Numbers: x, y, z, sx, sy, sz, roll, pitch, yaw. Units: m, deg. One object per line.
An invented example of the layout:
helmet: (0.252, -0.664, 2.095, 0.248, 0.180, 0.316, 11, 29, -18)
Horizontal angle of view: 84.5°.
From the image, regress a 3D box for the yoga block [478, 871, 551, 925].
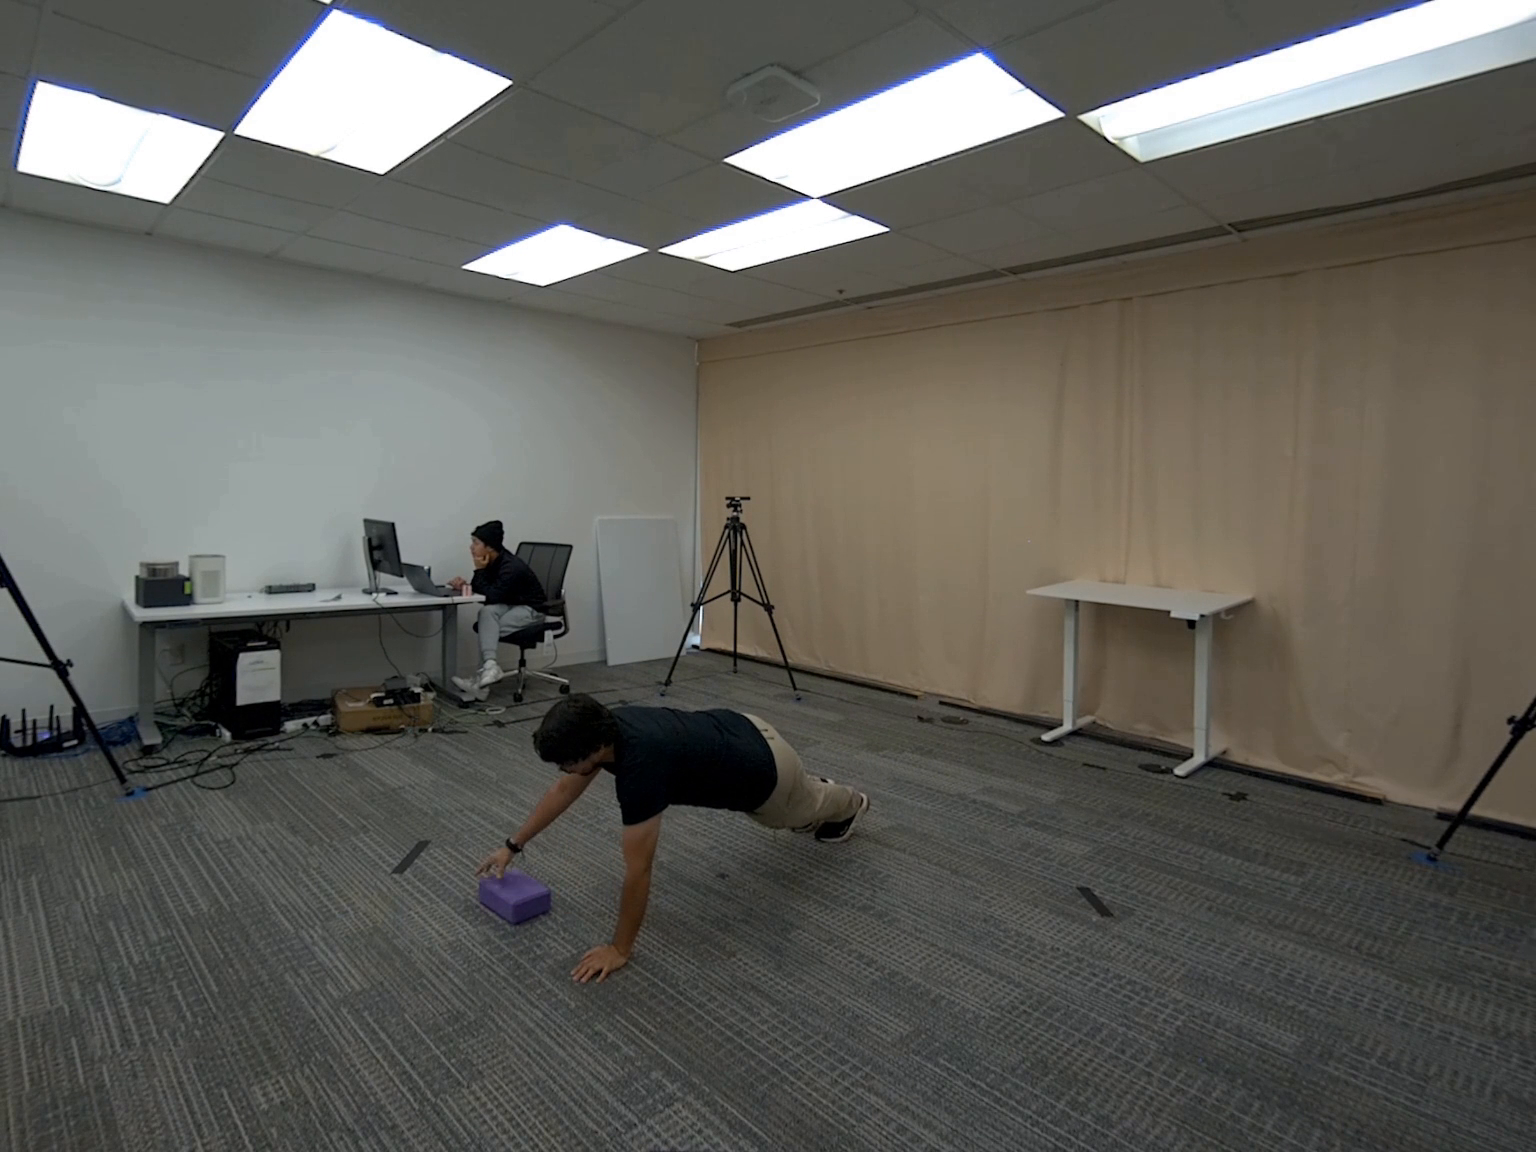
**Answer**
yoga block: (-0.856, 1.073, 2.834, 0.235, 0.076, 0.146, 6, 8, 42)
